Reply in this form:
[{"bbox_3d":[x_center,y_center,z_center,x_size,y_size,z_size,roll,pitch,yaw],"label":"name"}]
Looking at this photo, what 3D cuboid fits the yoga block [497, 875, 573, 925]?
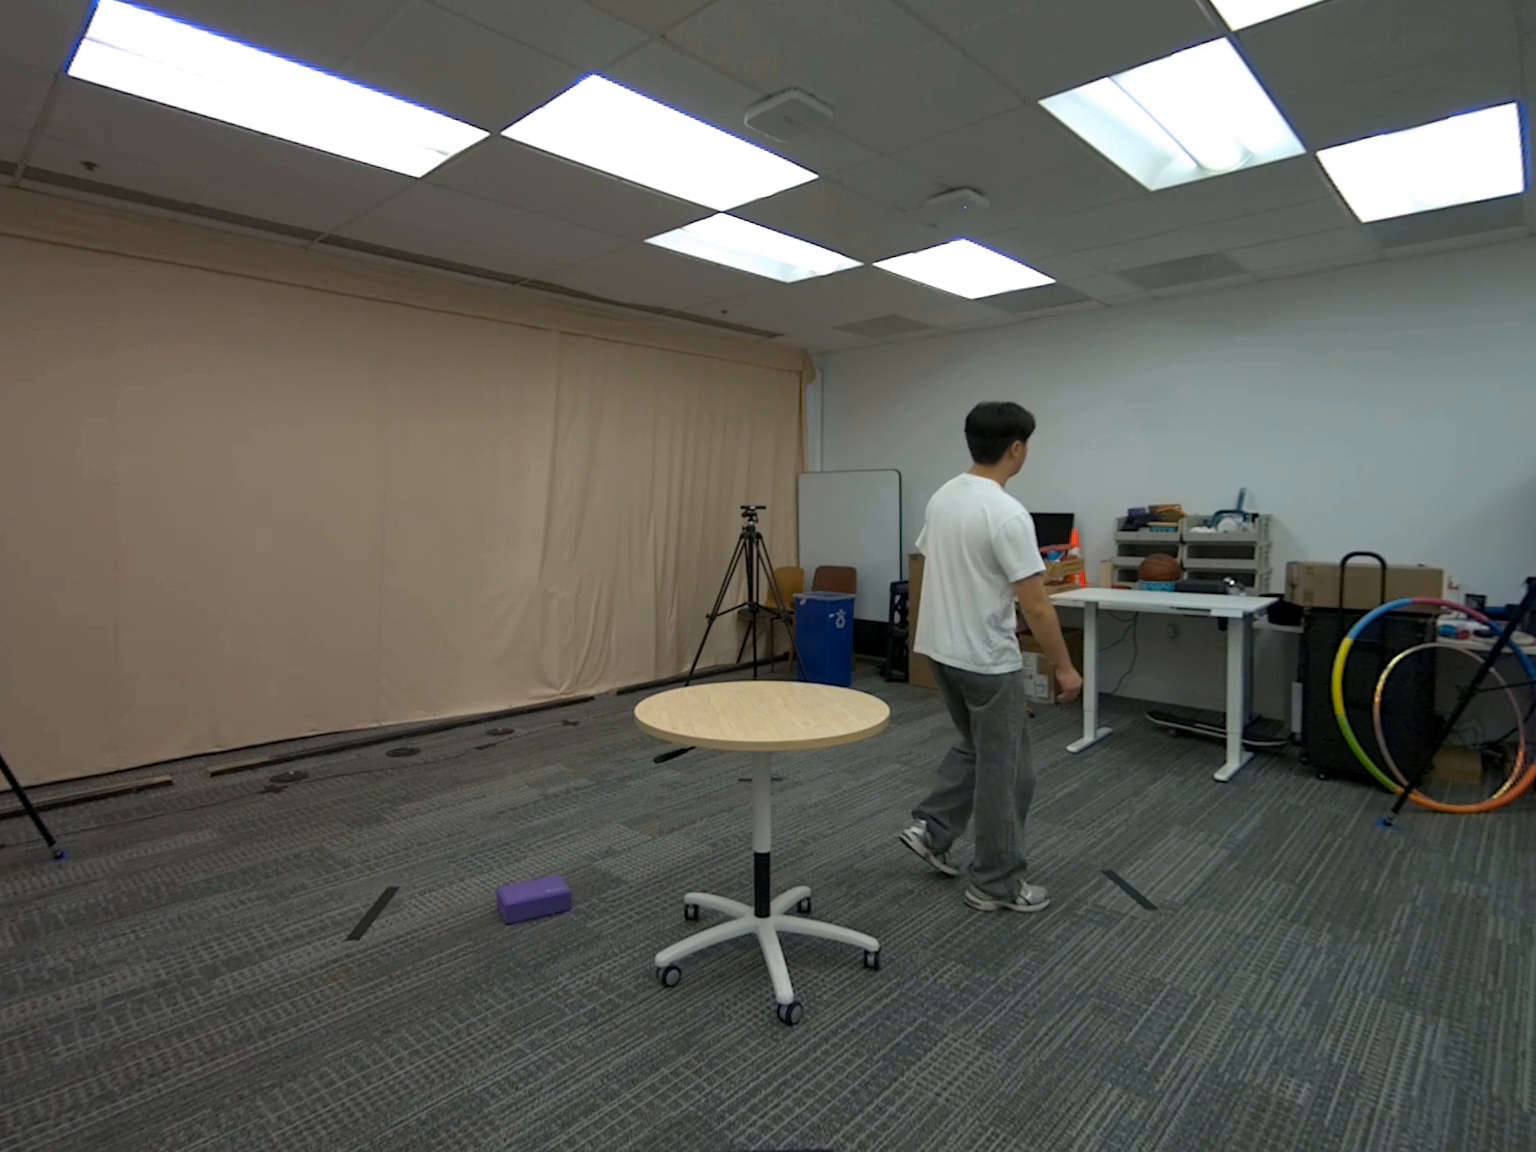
[{"bbox_3d":[-0.806,1.125,2.915,0.223,0.076,0.153,-3,5,-28],"label":"yoga block"}]
